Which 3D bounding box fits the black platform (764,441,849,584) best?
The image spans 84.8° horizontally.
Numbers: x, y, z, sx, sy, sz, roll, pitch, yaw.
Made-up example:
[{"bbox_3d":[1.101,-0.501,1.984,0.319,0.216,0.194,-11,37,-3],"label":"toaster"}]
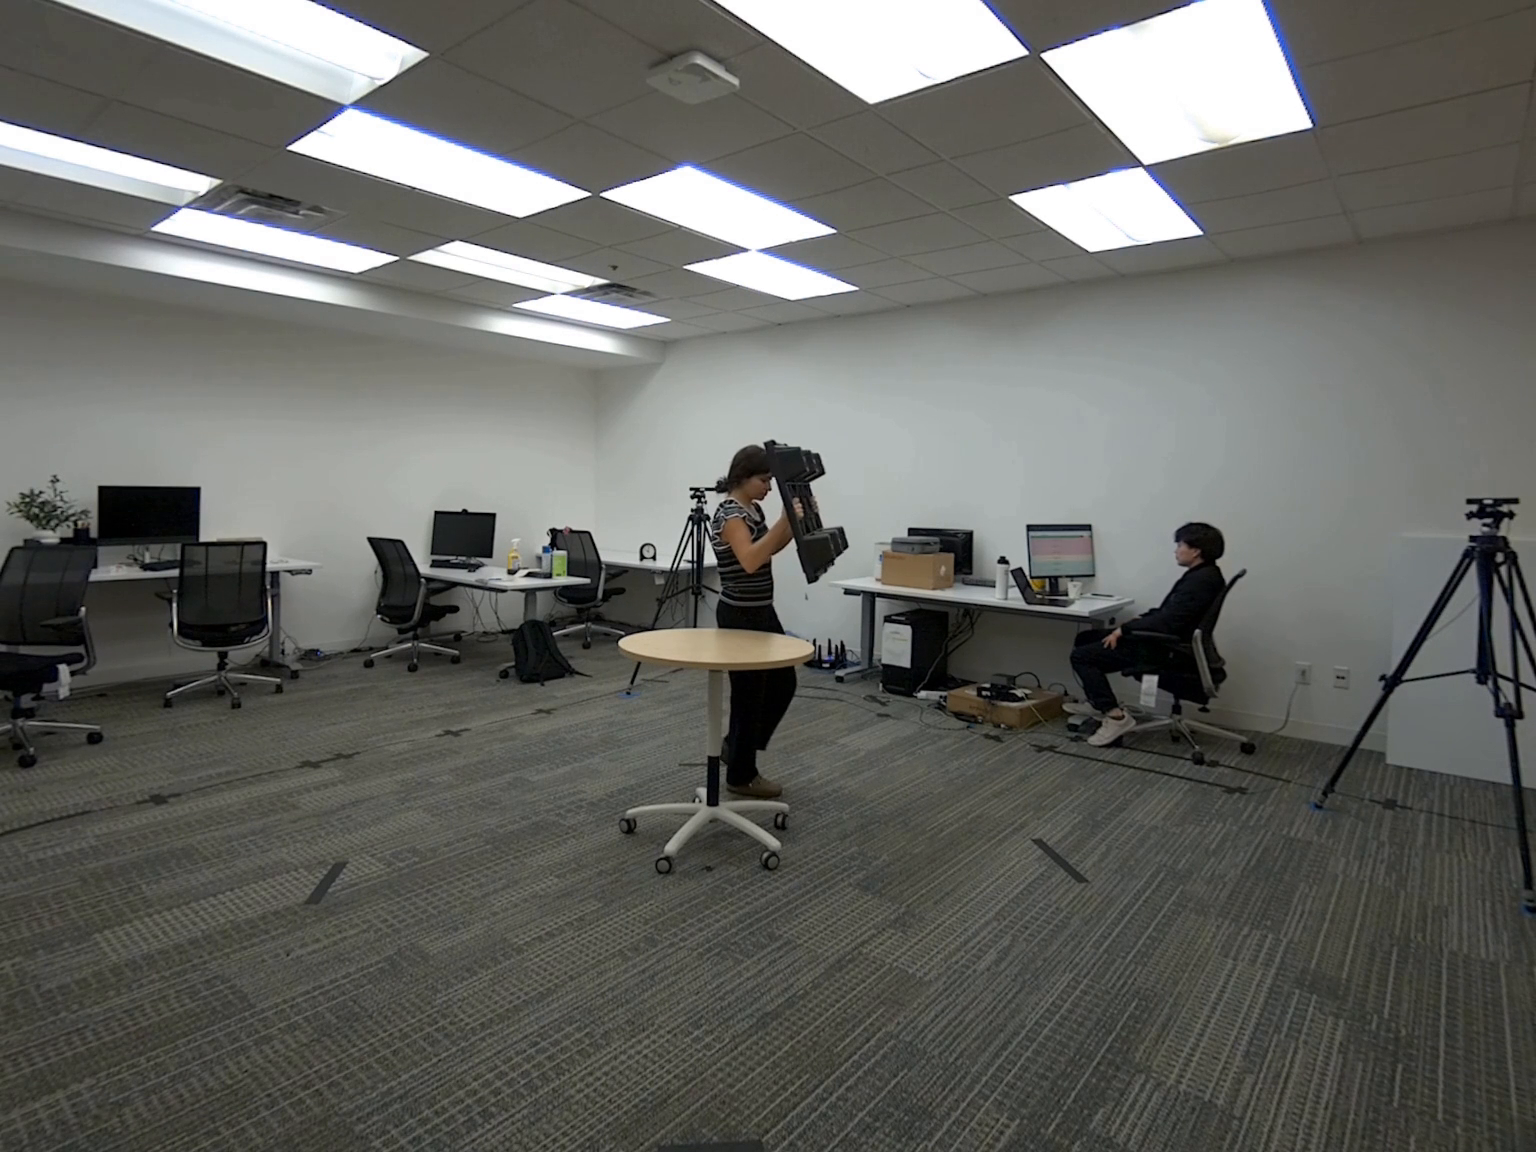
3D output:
[{"bbox_3d":[0.179,-0.314,3.767,0.144,0.605,0.799,-16,2,10],"label":"black platform"}]
